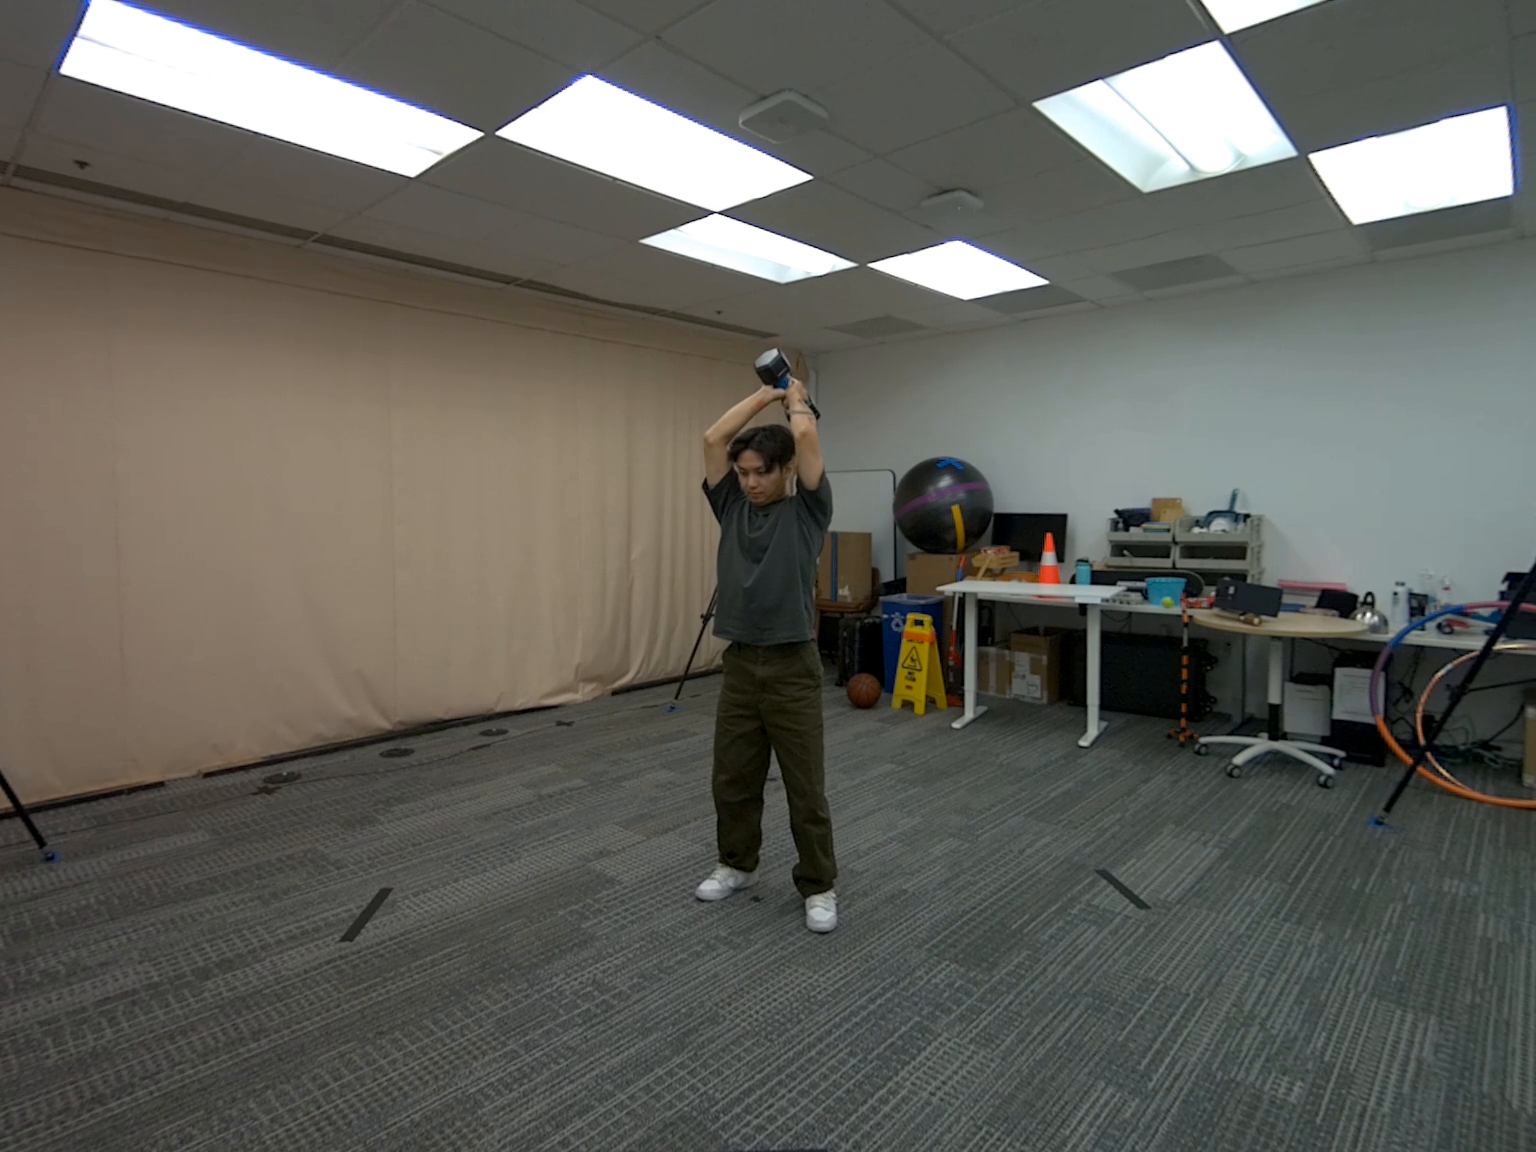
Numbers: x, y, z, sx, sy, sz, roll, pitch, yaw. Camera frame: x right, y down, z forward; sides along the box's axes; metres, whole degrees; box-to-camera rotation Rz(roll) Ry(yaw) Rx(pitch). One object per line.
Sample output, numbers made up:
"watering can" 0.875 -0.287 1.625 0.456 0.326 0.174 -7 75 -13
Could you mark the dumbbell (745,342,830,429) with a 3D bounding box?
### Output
"dumbbell" 0.068 -0.651 2.936 0.122 0.285 0.112 -43 32 -8
